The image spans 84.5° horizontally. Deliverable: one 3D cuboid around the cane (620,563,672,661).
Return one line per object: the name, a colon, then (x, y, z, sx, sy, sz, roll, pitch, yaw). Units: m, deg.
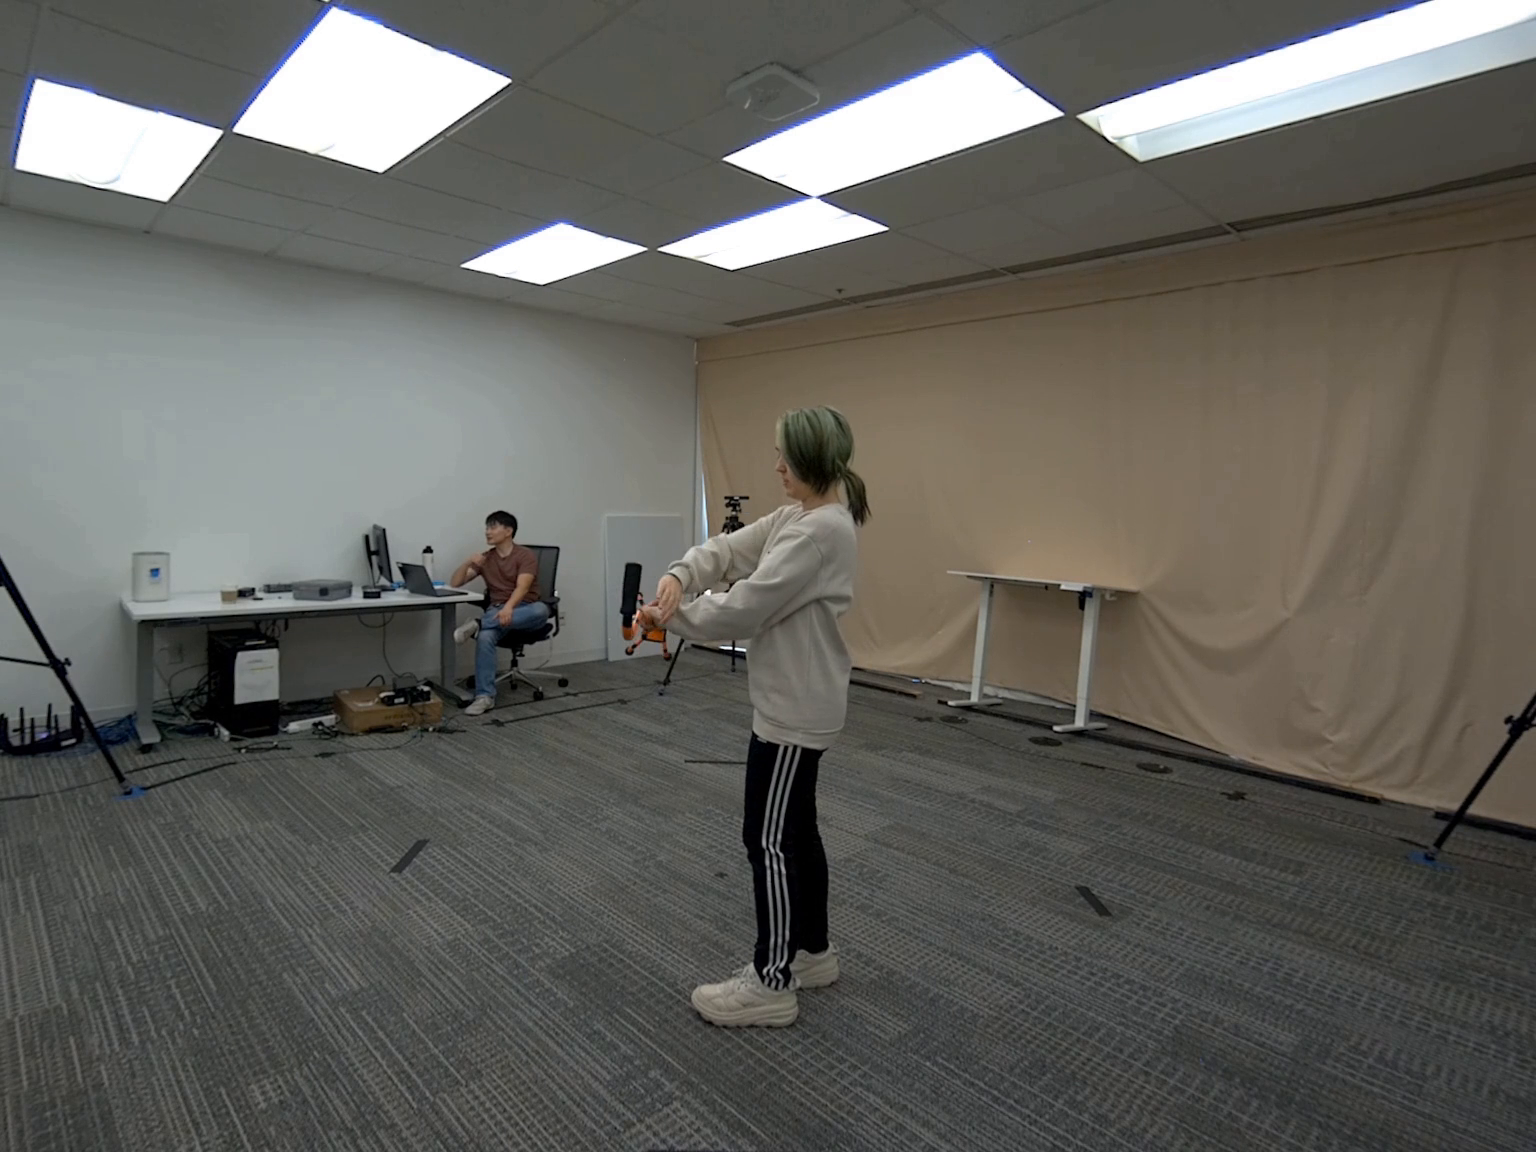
cane: (-0.345, 0.123, 2.213, 0.151, 0.207, 0.905, 6, -7, -4)
